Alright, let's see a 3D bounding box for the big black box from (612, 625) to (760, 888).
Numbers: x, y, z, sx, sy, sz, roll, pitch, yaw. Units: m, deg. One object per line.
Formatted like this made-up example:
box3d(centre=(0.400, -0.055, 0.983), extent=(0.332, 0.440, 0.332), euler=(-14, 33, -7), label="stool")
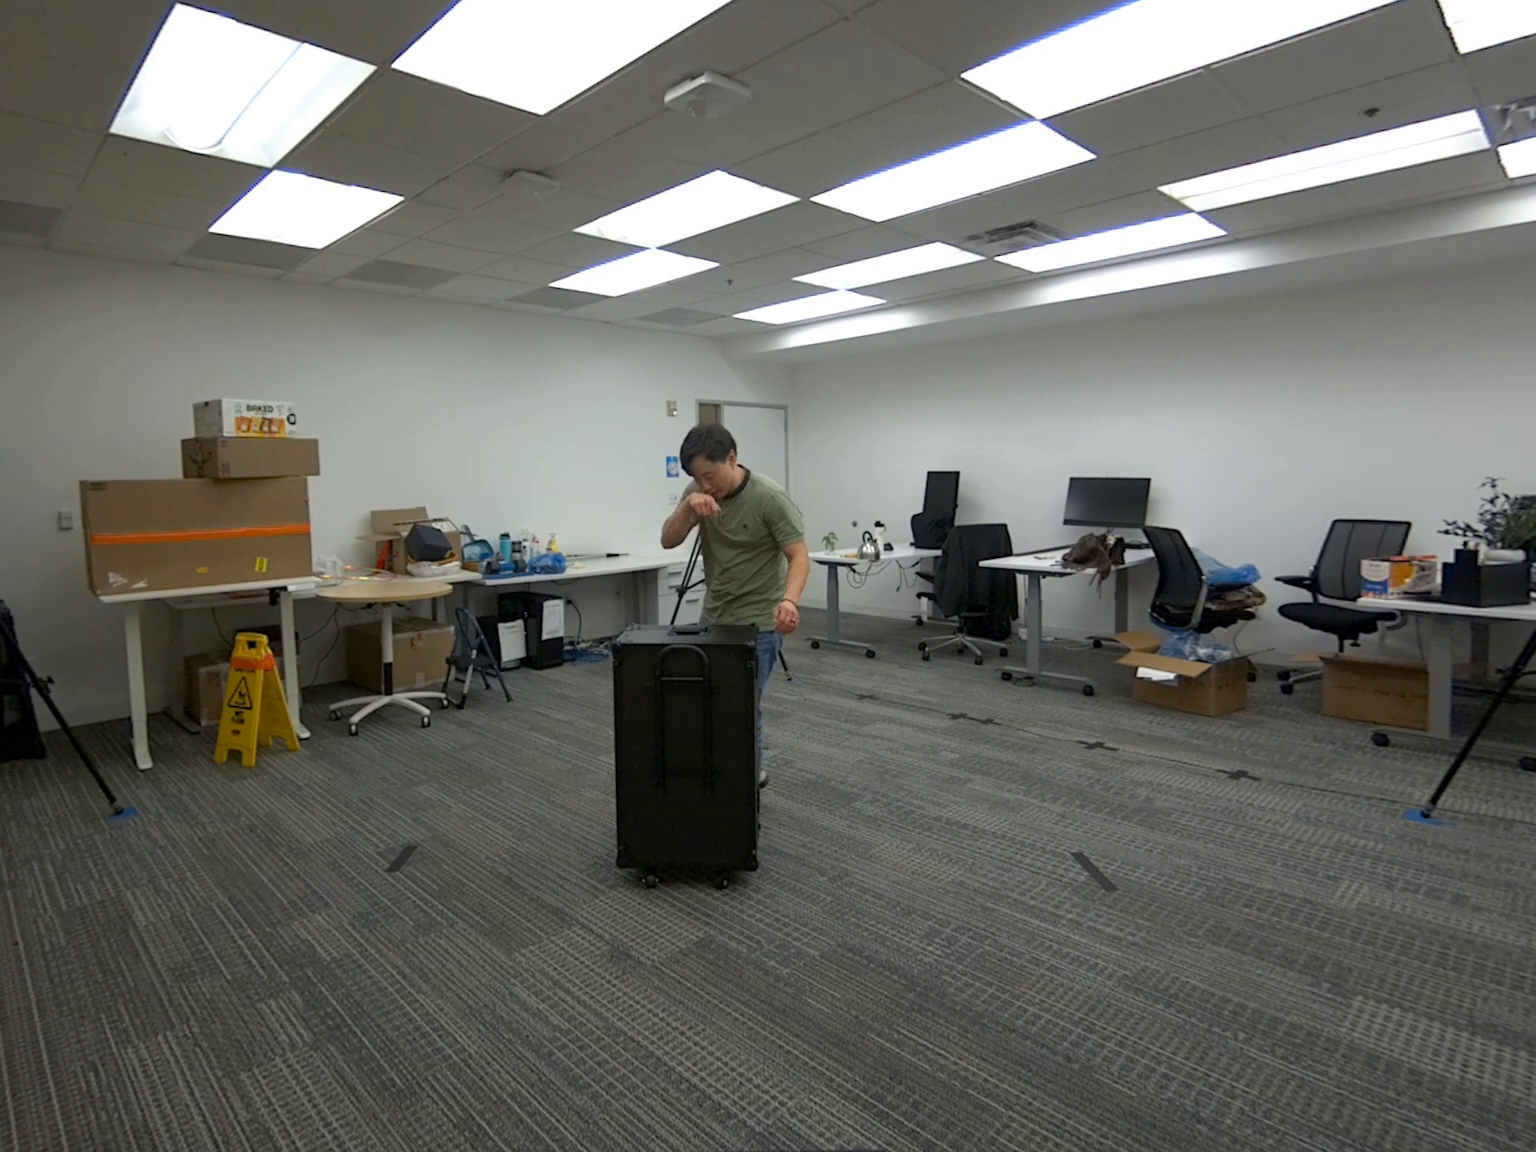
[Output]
box3d(centre=(-0.276, 0.630, 3.045), extent=(0.523, 0.858, 0.396), euler=(0, 4, 3), label="big black box")
